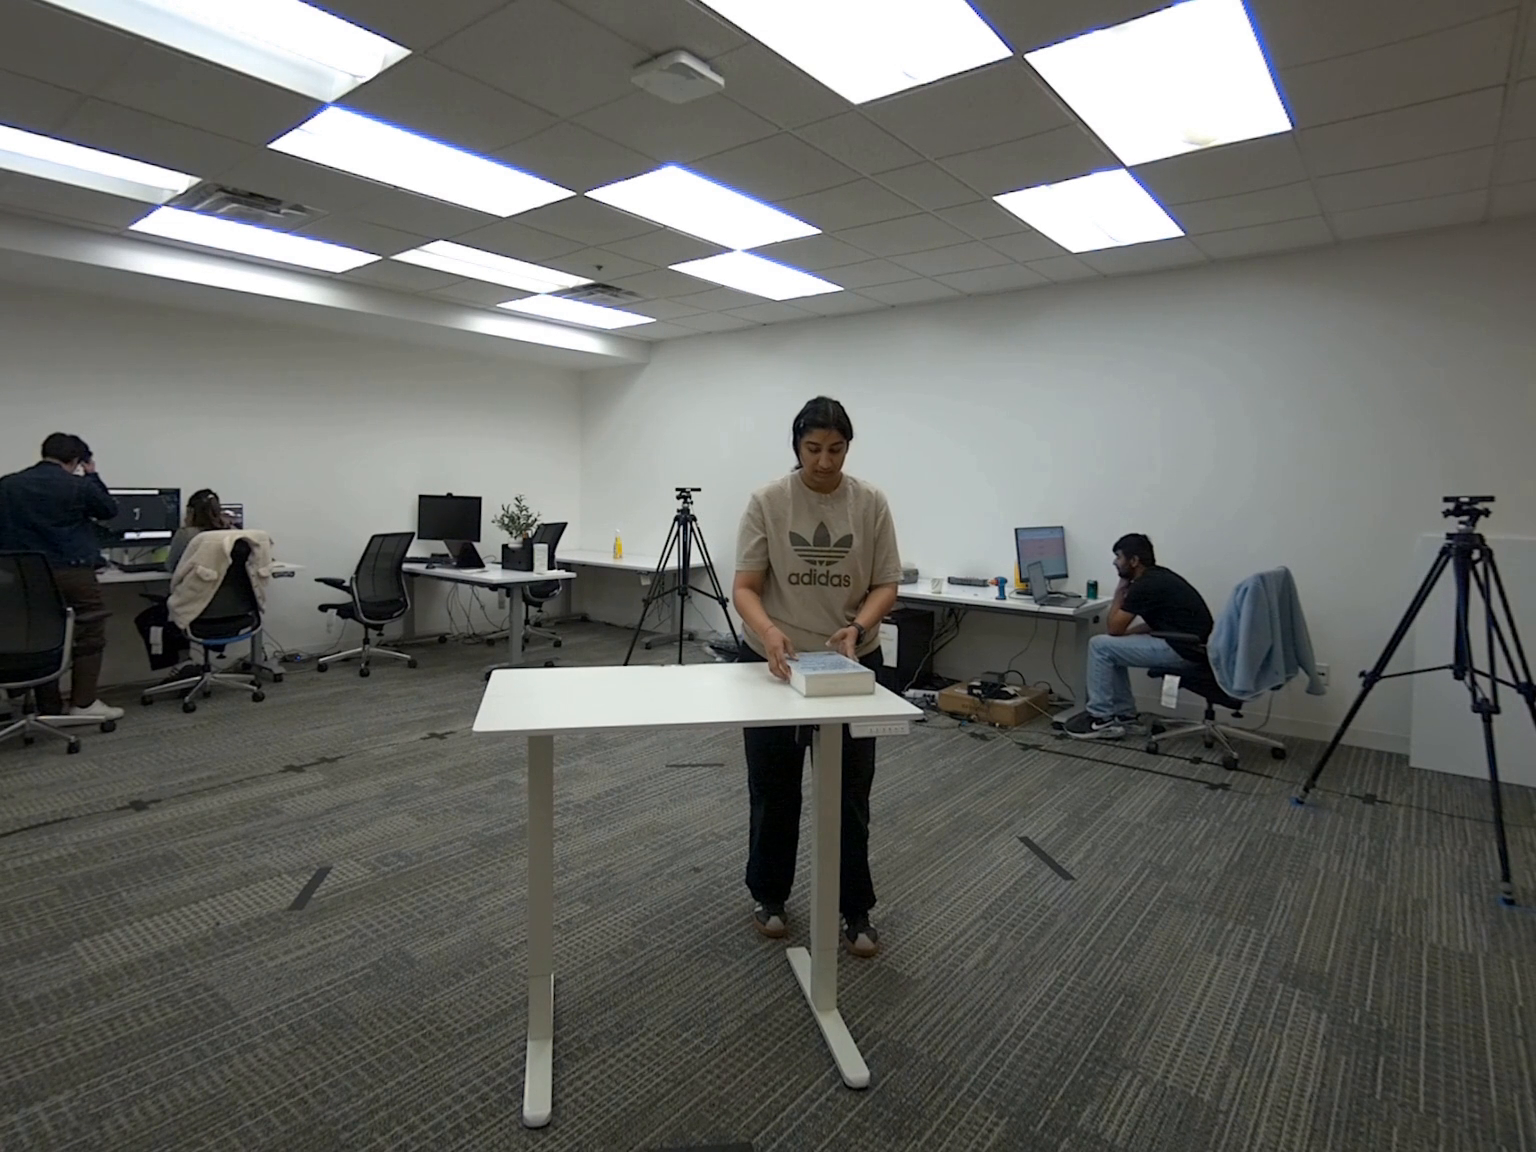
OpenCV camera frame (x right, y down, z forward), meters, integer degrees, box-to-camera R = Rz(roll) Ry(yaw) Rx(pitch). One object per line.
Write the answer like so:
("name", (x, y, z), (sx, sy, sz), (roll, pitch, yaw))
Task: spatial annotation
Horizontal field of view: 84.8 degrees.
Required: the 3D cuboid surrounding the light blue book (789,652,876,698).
("light blue book", (0.176, 0.255, 2.177), (0.256, 0.059, 0.195), (0, 5, -18))
